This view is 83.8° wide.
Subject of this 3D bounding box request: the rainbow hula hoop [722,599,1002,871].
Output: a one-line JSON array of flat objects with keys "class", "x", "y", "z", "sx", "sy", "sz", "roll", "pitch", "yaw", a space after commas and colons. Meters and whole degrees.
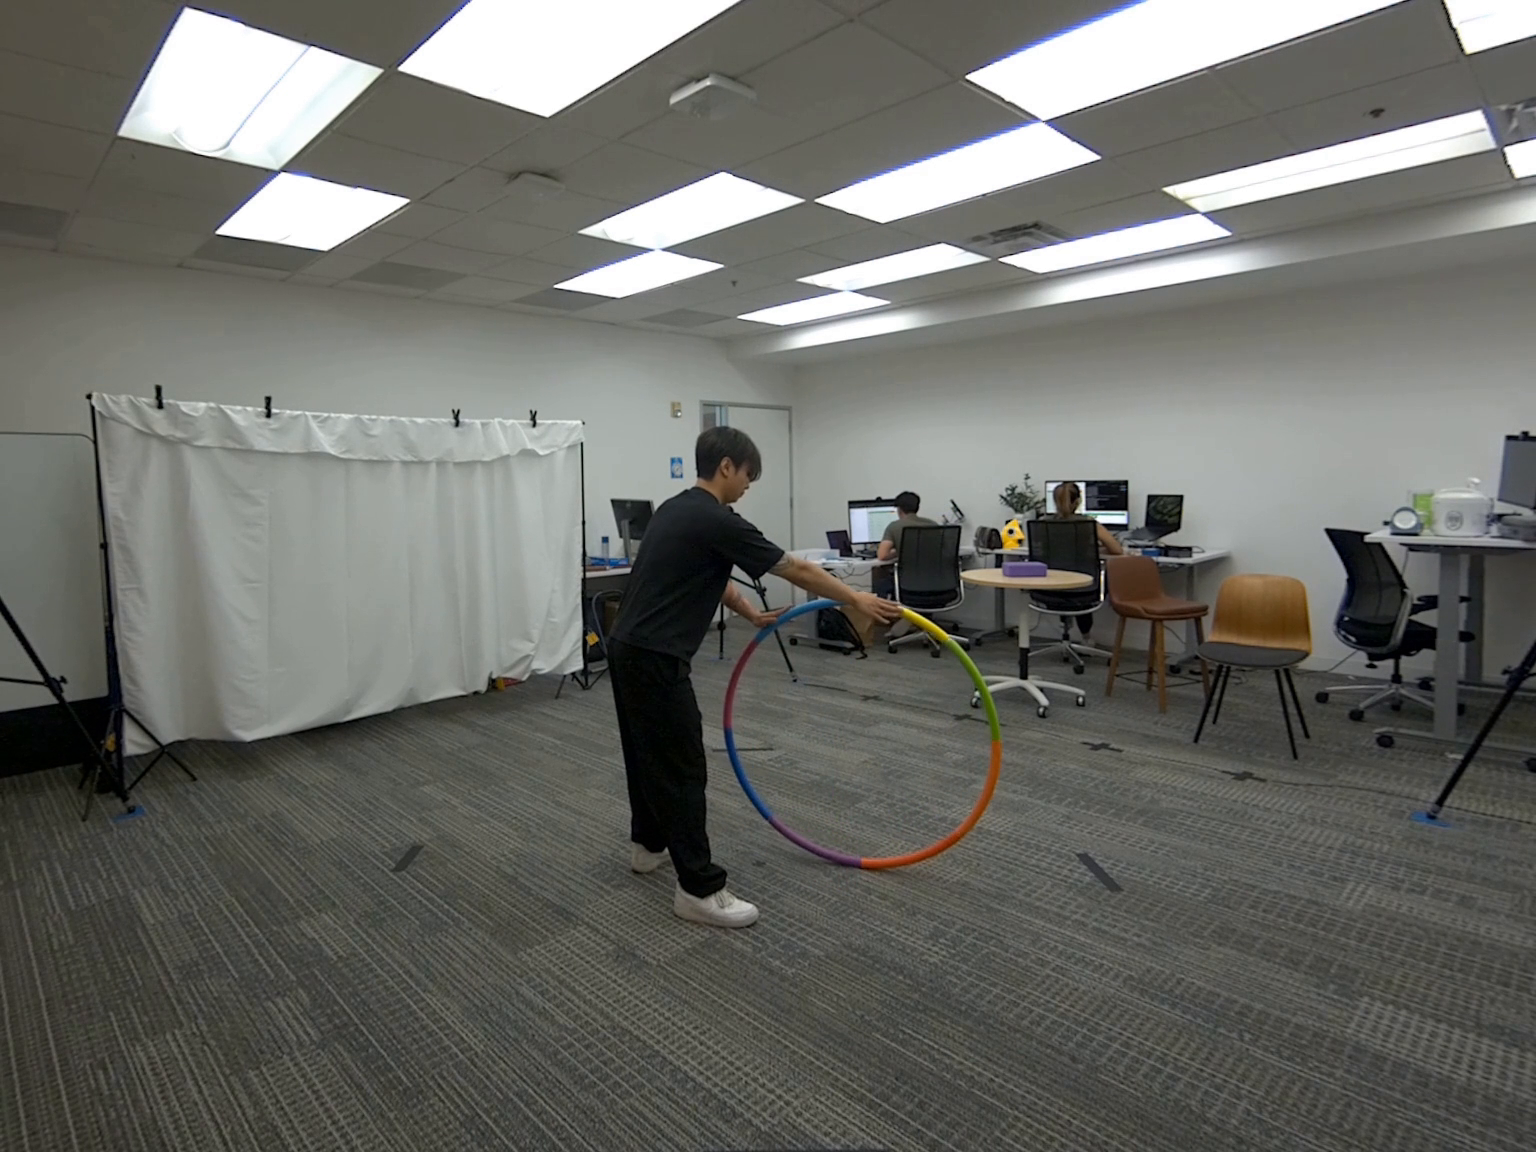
[{"class": "rainbow hula hoop", "x": 0.307, "y": 0.562, "z": 3.035, "sx": 0.997, "sy": 0.973, "sz": 0.035, "roll": 1, "pitch": 6, "yaw": 20}]
